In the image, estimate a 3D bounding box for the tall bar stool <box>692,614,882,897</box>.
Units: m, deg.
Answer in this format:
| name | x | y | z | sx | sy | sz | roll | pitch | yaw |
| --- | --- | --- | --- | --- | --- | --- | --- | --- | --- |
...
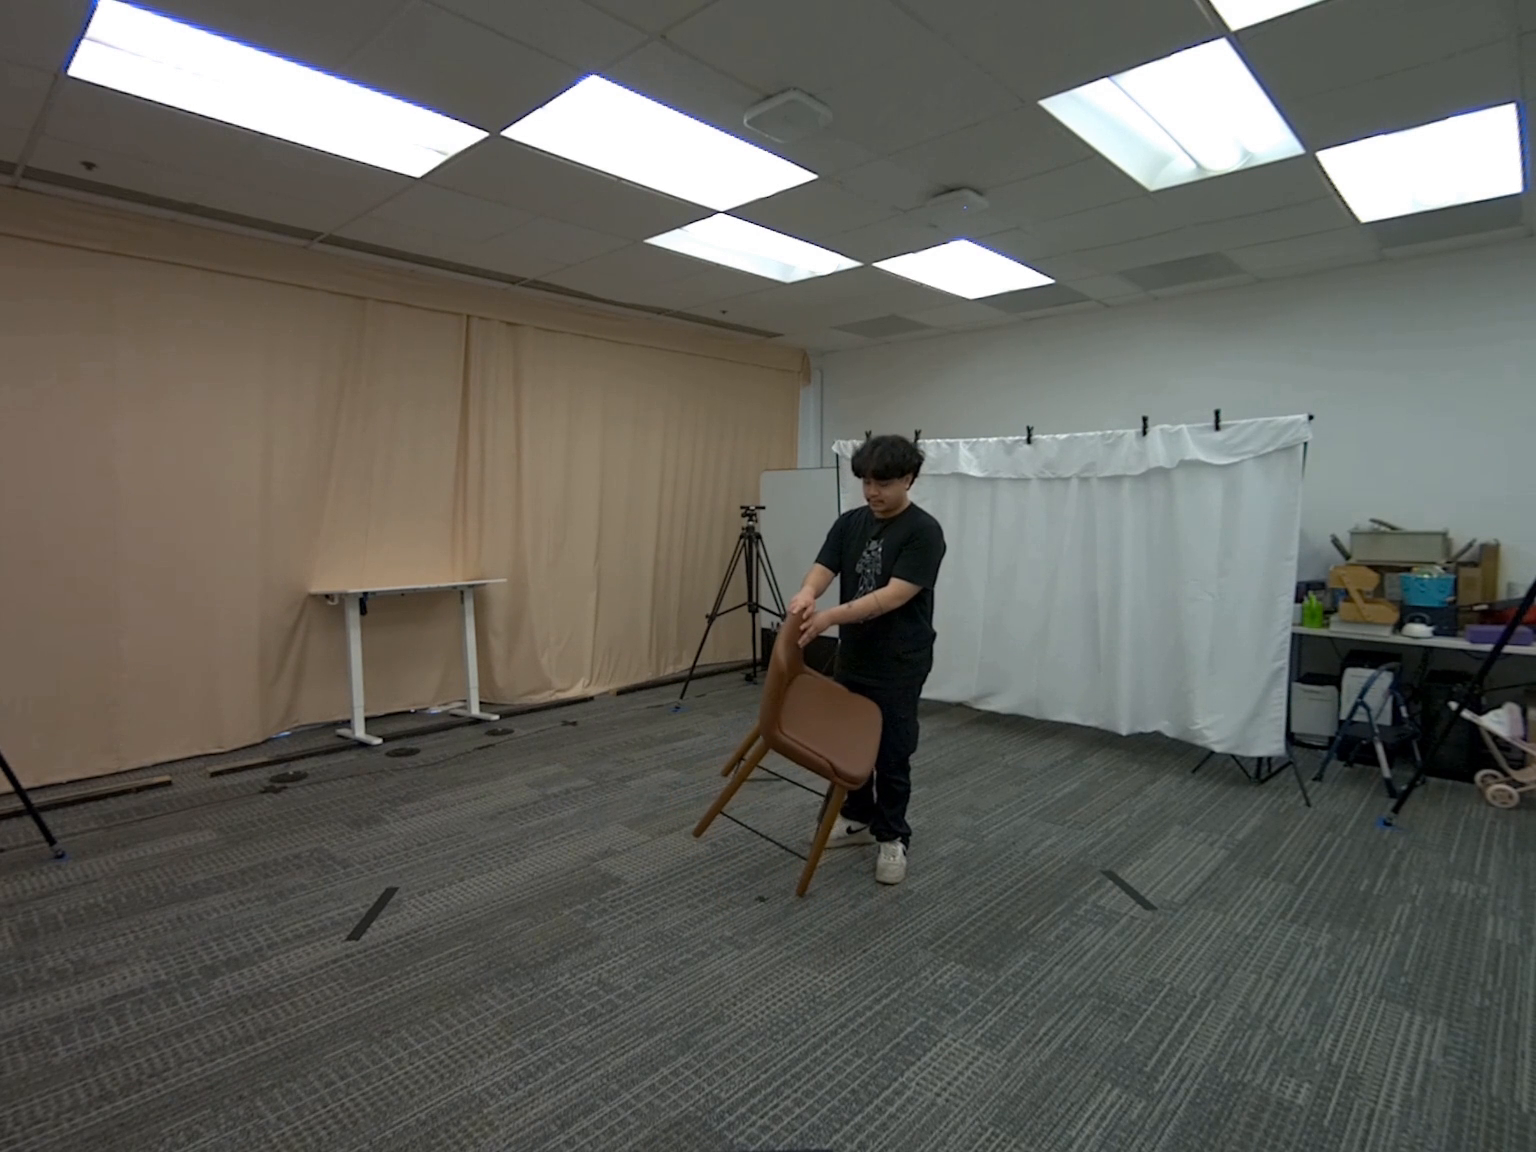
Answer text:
| name | x | y | z | sx | sy | sz | roll | pitch | yaw |
| --- | --- | --- | --- | --- | --- | --- | --- | --- | --- |
| tall bar stool | 0.127 | 0.618 | 2.989 | 0.471 | 0.885 | 0.455 | 25 | 28 | 5 |
